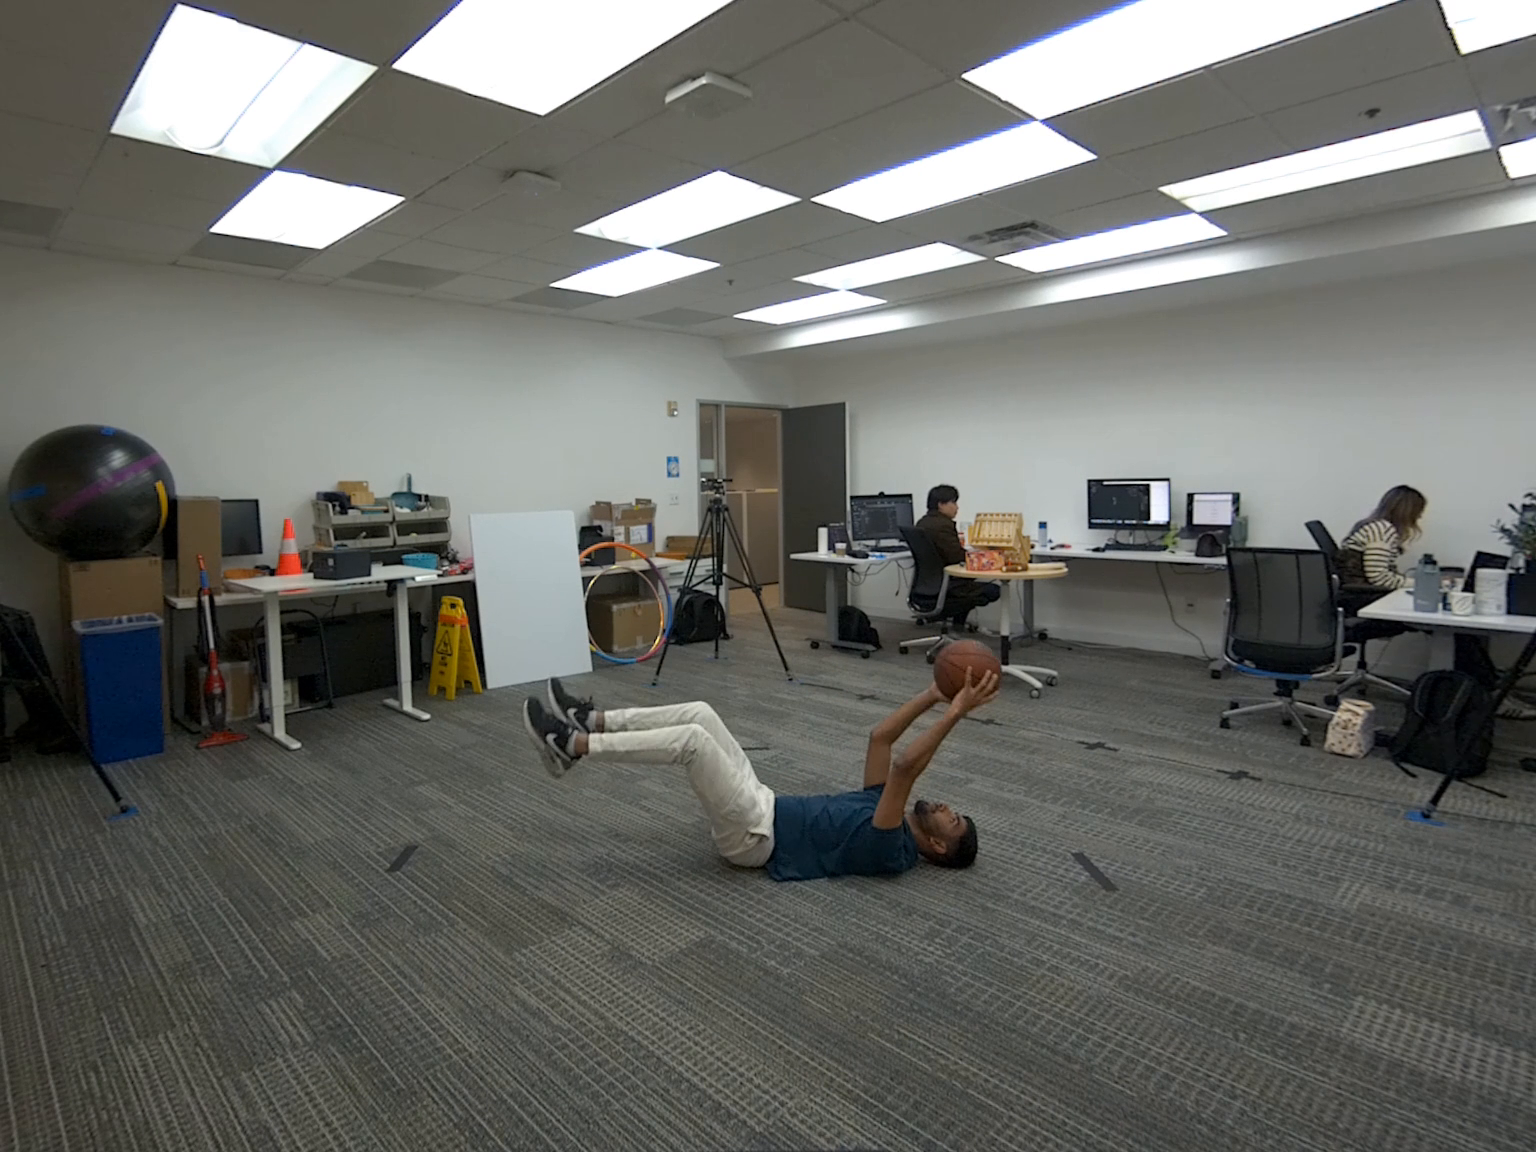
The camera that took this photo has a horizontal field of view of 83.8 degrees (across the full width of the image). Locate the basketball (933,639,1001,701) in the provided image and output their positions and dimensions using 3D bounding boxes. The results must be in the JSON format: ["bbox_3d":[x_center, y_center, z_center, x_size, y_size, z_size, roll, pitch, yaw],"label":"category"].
[{"bbox_3d":[0.721,0.358,3.091,0.236,0.235,0.237,-1,5,-2],"label":"basketball"}]
